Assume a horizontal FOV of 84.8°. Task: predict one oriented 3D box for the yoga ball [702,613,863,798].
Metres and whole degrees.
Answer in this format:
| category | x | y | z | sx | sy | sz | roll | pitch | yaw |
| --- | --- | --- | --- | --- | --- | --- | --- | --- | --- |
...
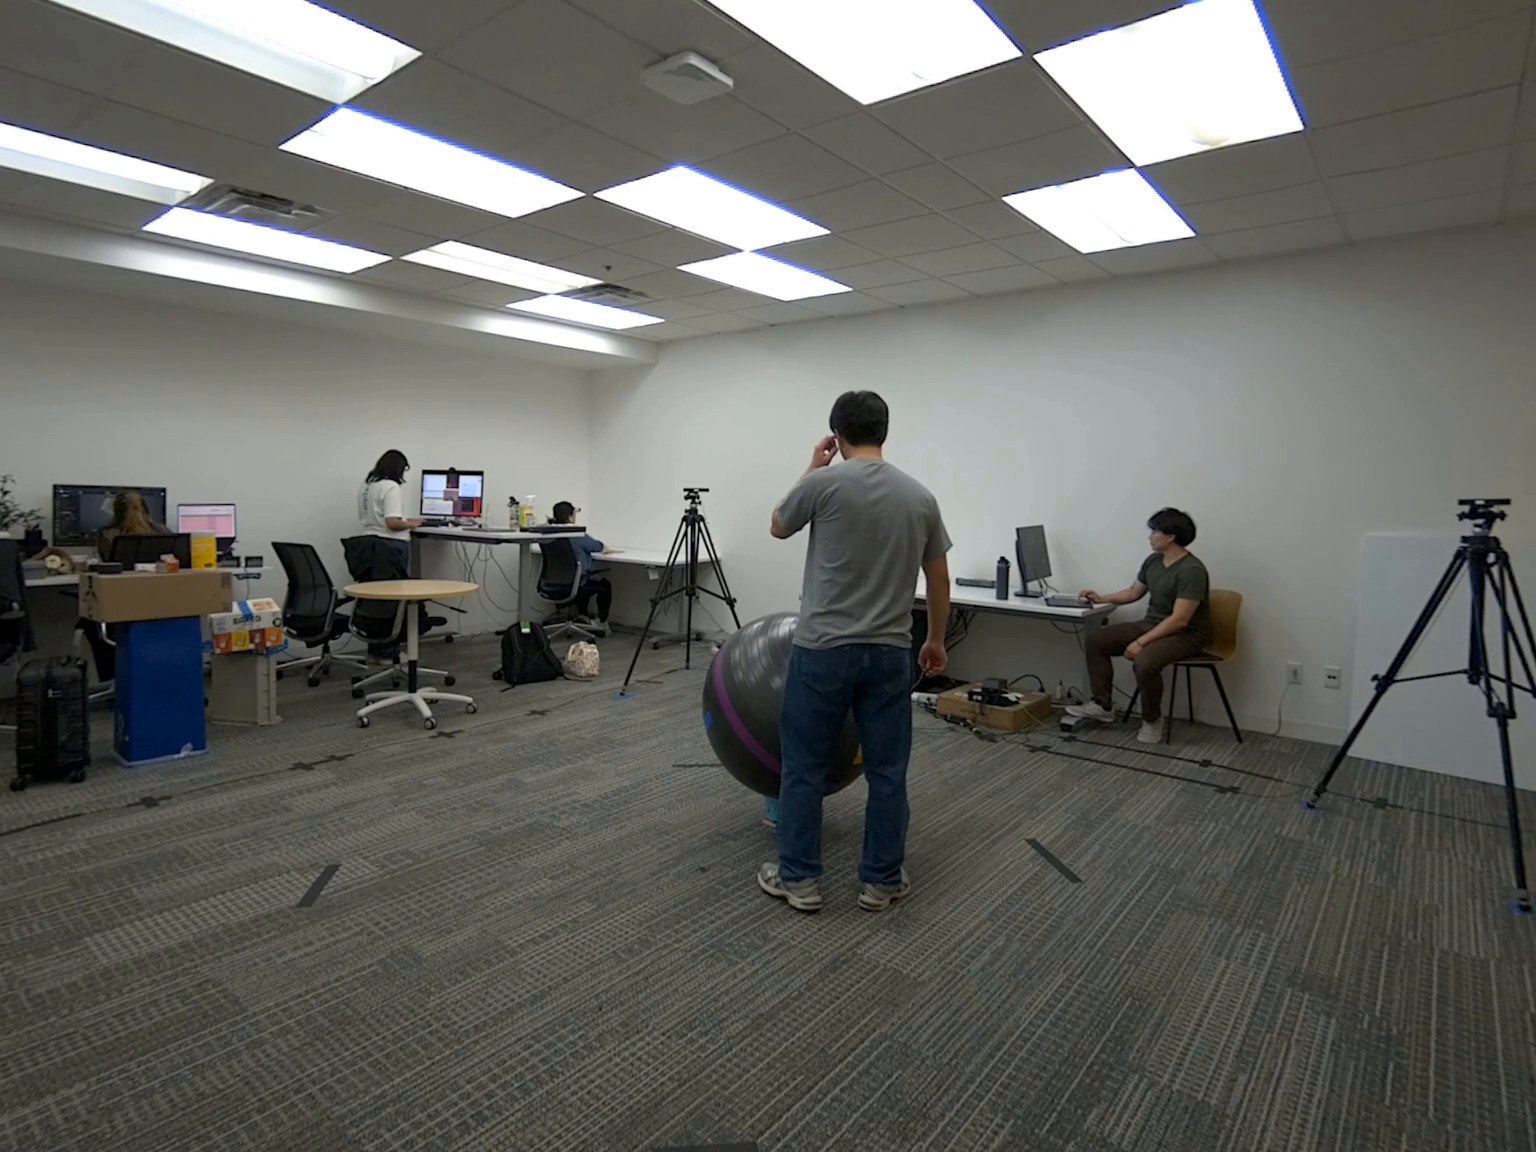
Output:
| category | x | y | z | sx | sy | sz | roll | pitch | yaw |
| --- | --- | --- | --- | --- | --- | --- | --- | --- | --- |
| yoga ball | 0.105 | 0.530 | 3.499 | 0.757 | 0.756 | 0.761 | 1 | 4 | -2 |
